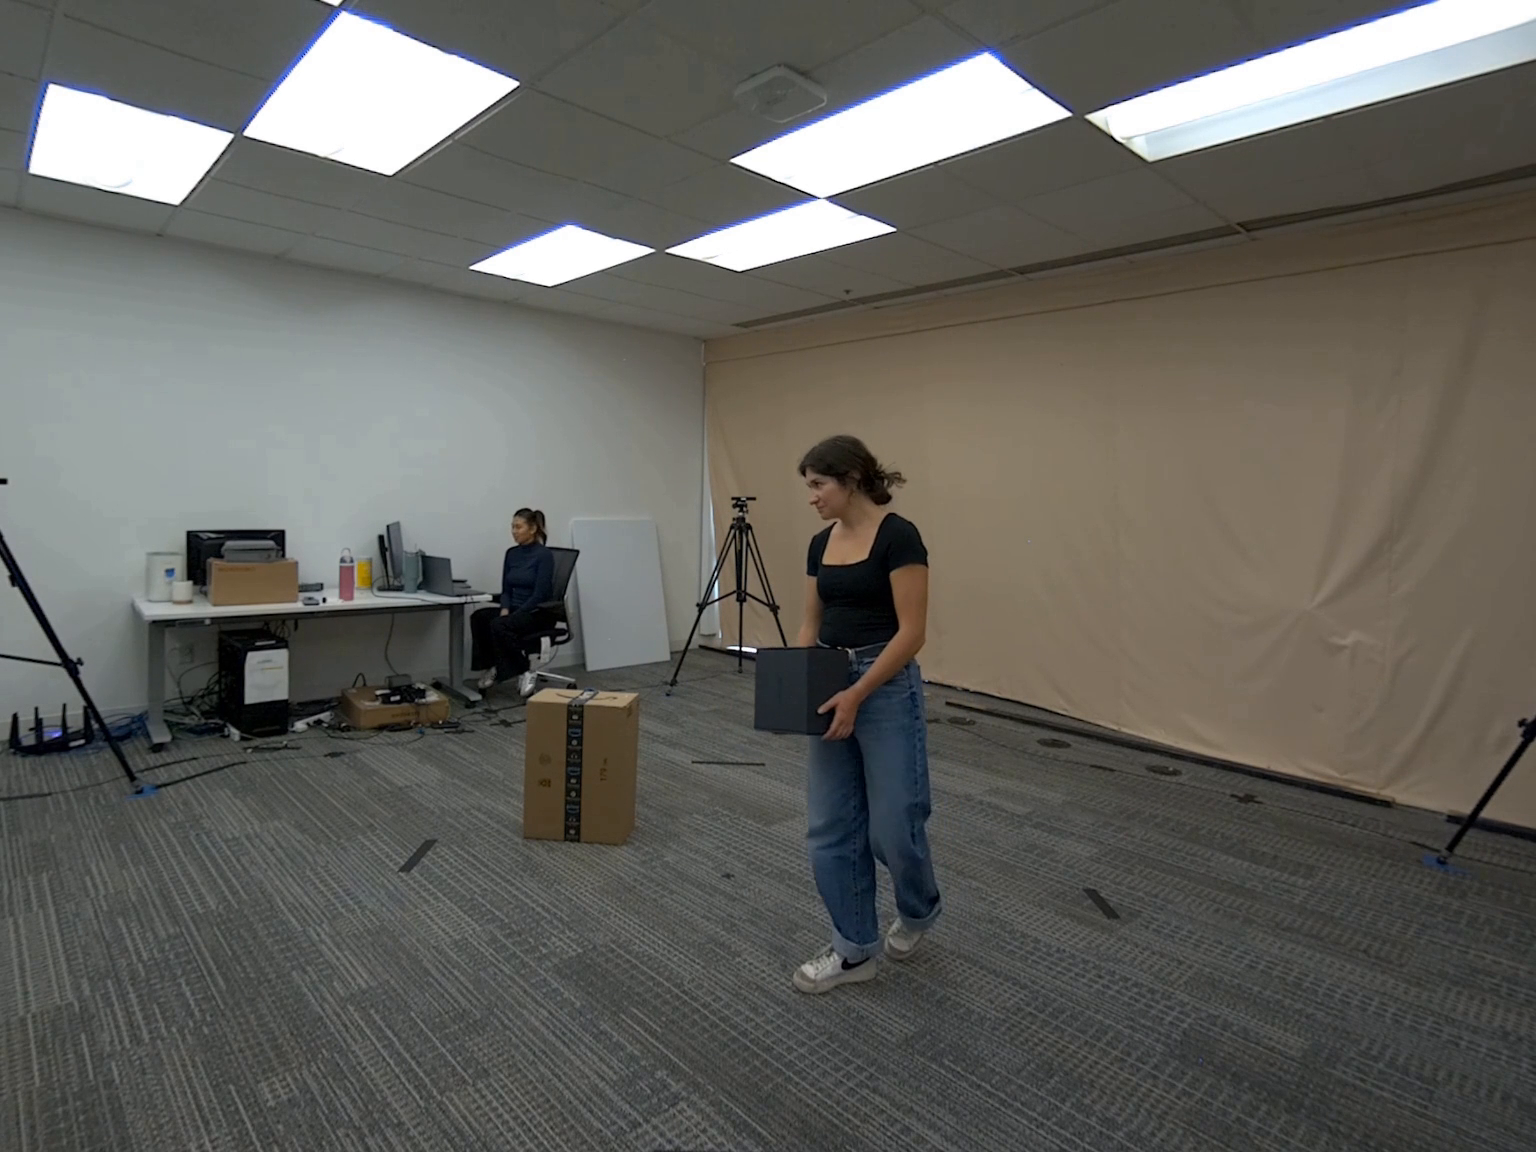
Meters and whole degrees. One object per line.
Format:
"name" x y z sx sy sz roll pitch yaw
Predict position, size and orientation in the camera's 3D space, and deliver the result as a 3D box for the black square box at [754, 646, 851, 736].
"black square box" 0.081 0.309 2.317 0.152 0.229 0.221 6 -10 -36
